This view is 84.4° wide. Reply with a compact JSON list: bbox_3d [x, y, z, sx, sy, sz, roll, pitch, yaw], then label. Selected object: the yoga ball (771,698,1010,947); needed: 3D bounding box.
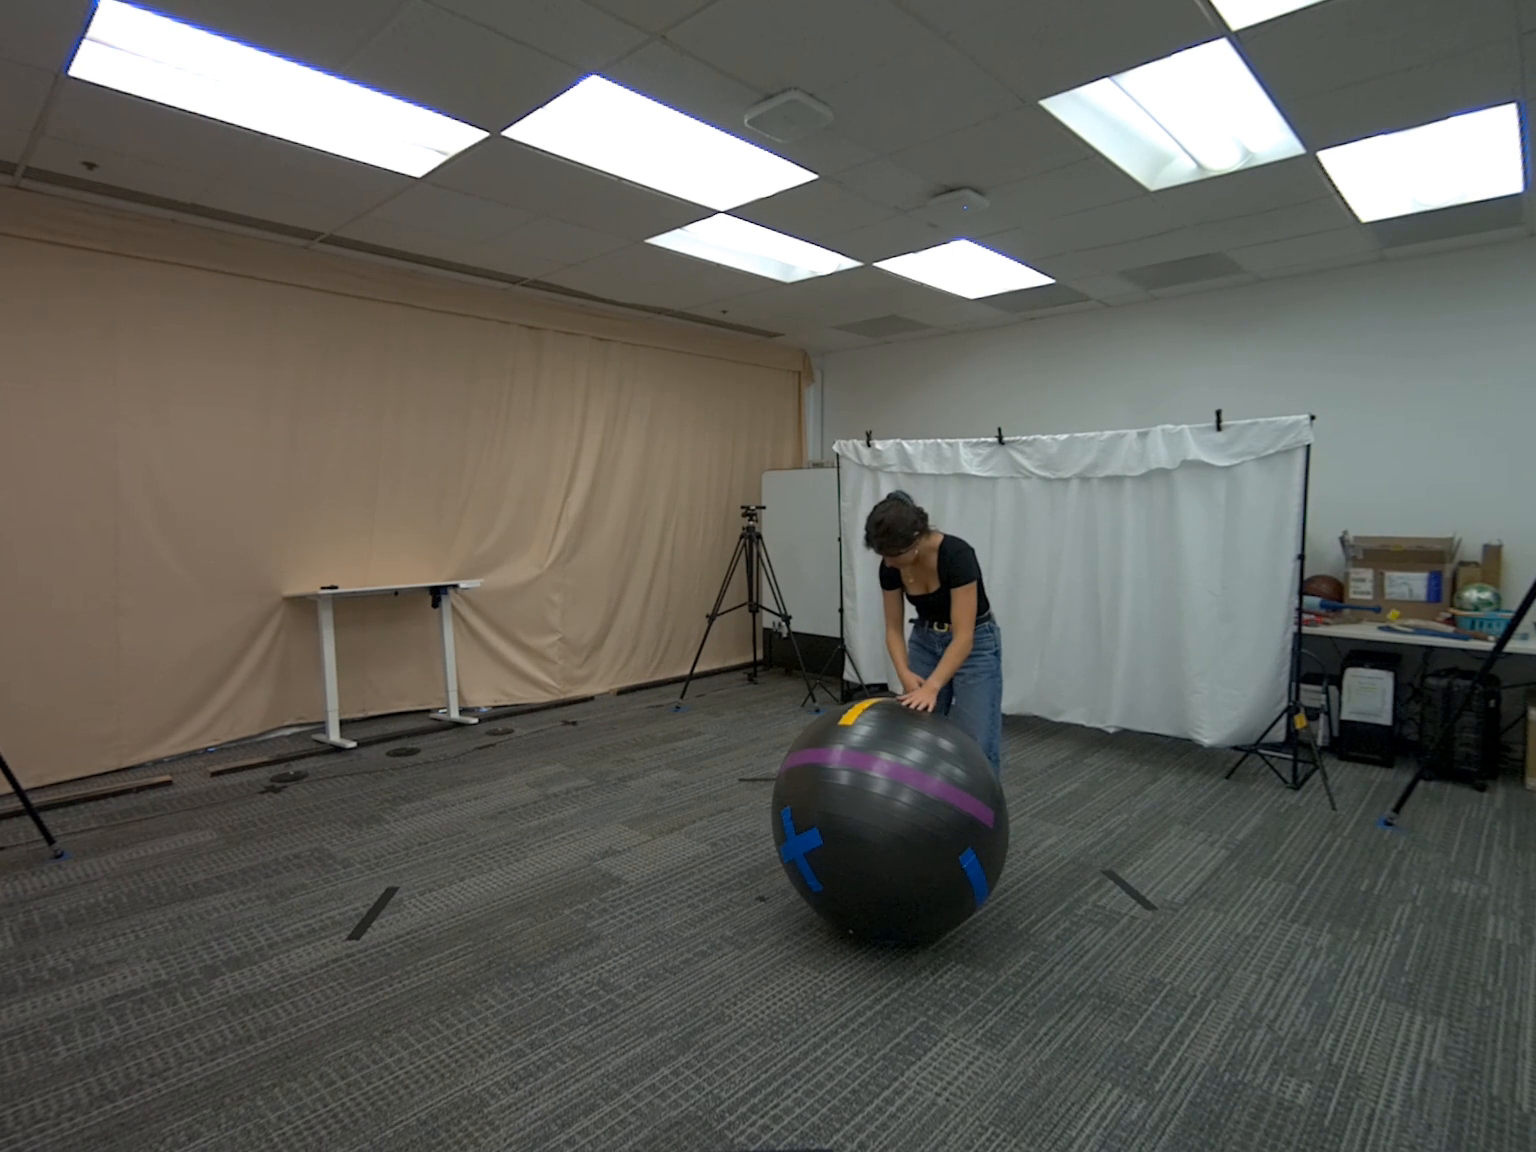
[{"bbox_3d":[0.390,0.795,2.750,0.757,0.756,0.760,0,4,-2],"label":"yoga ball"}]
